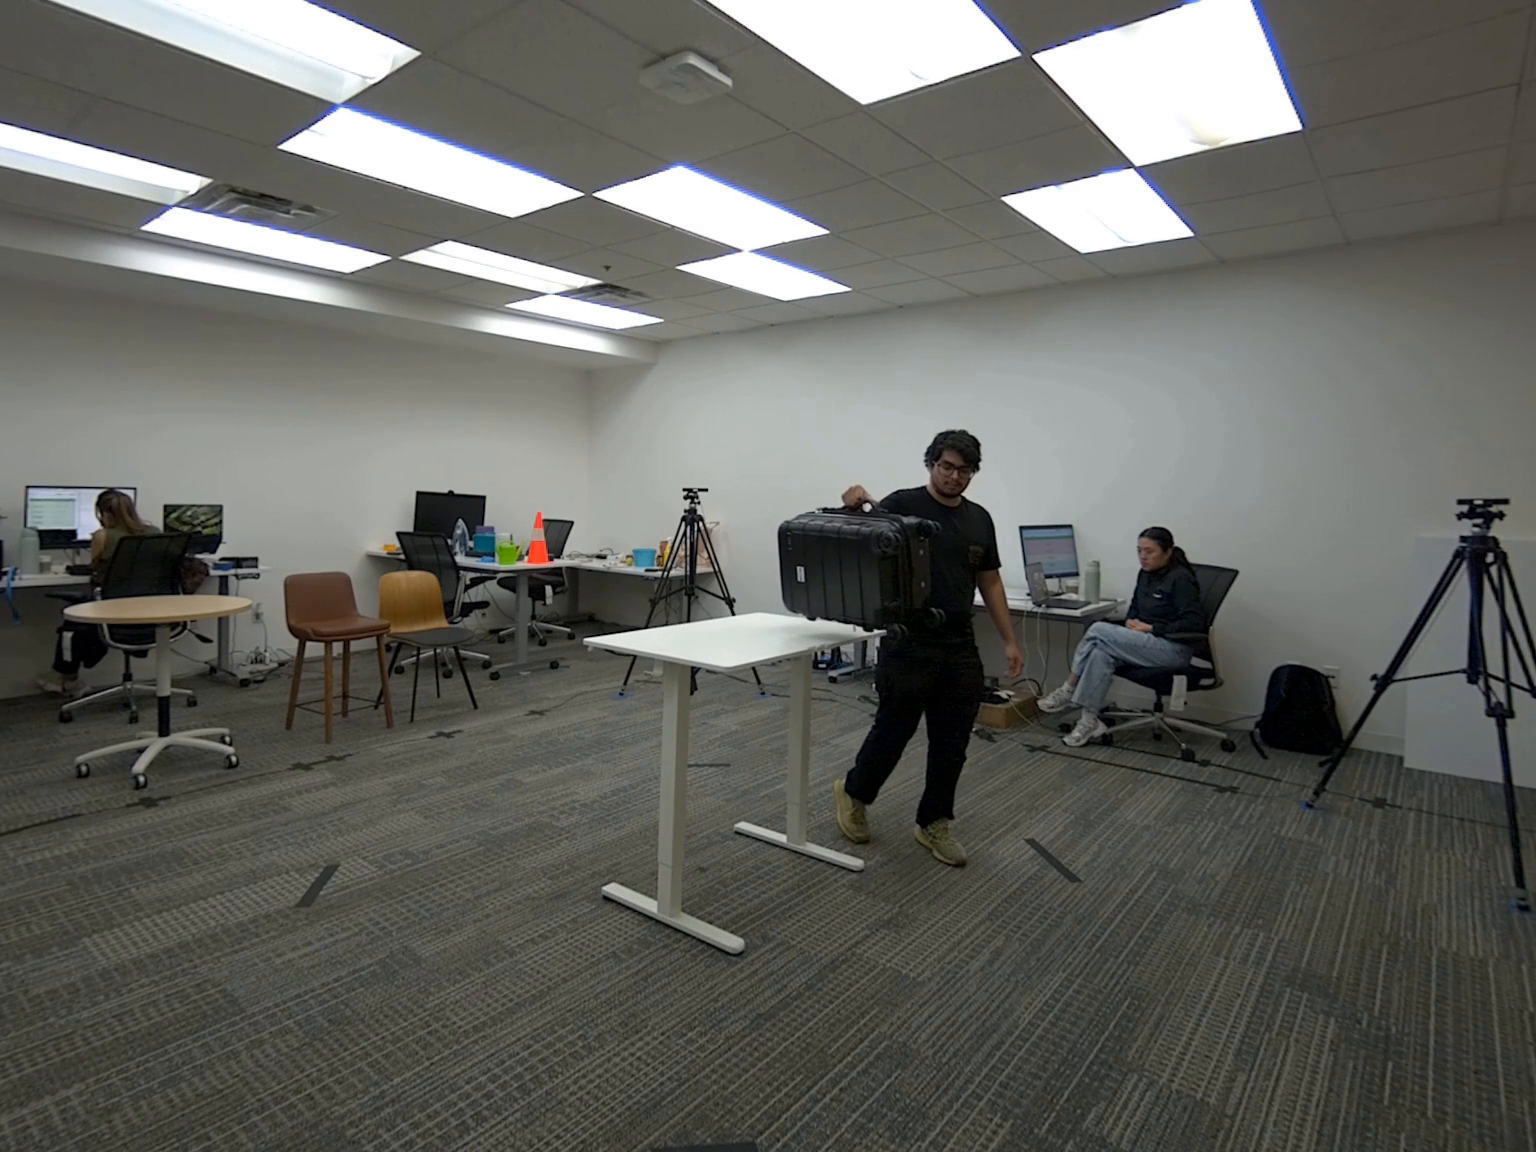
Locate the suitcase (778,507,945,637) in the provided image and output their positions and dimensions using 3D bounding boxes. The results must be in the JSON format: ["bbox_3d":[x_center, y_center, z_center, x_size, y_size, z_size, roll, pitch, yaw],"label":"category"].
[{"bbox_3d":[0.278,-0.028,2.880,0.242,0.371,0.569,-14,15,-40],"label":"suitcase"}]
